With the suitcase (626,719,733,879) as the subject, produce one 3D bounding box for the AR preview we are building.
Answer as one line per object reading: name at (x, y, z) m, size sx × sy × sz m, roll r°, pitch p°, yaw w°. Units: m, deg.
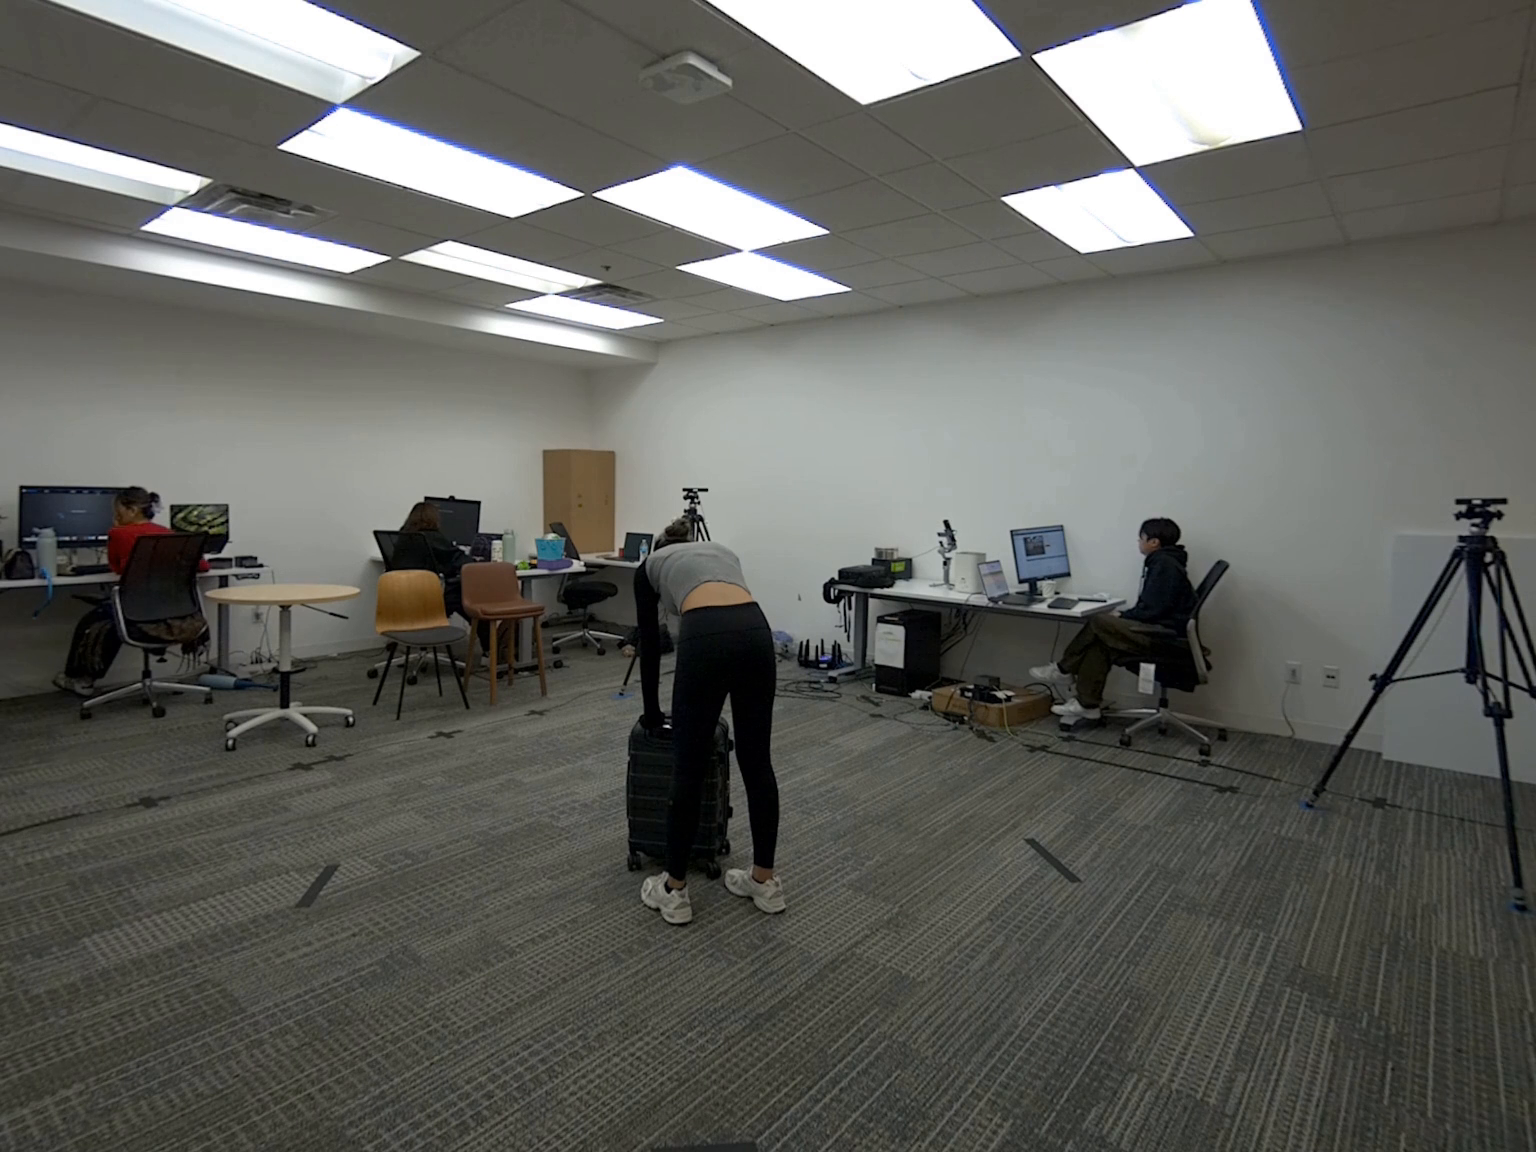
suitcase at (-0.344, 0.786, 3.186) m, size 0.381 × 0.549 × 0.245 m, roll 1°, pitch 1°, yaw 12°
